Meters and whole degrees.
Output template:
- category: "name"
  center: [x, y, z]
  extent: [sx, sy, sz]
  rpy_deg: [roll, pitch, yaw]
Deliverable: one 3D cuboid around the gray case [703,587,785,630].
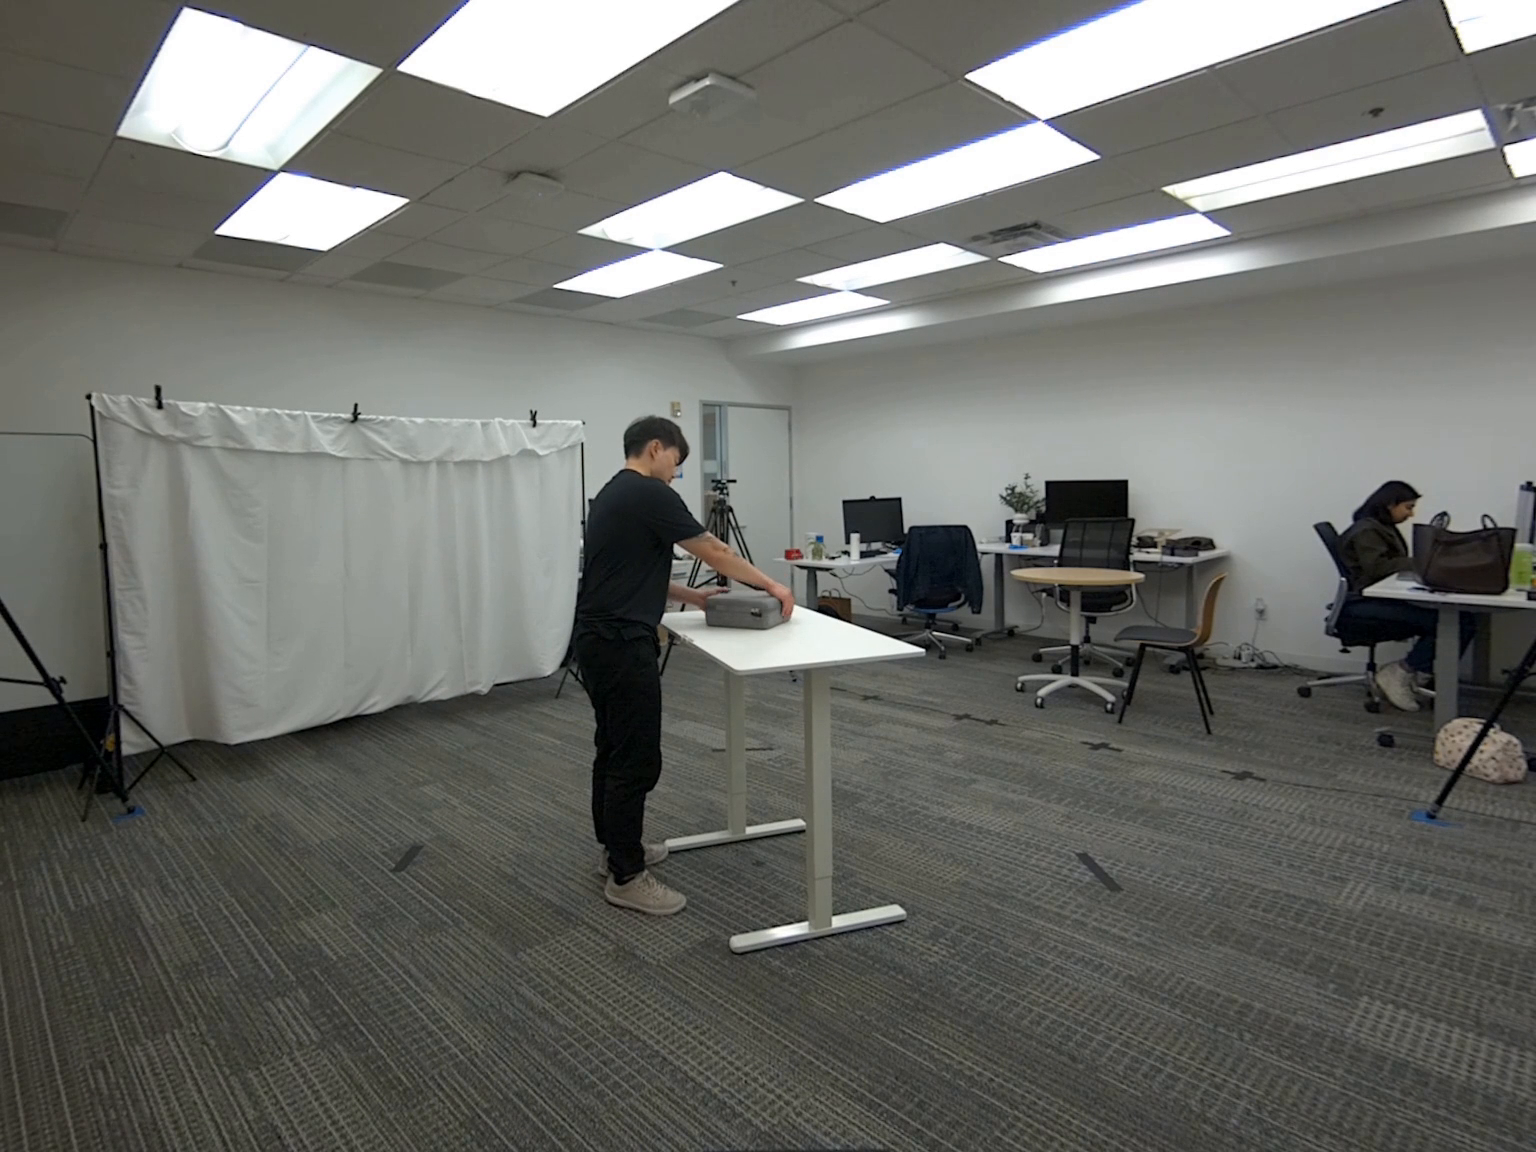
- category: "gray case"
  center: [-0.069, 0.121, 3.066]
  extent: [0.263, 0.104, 0.256]
  rpy_deg: [1, 7, 24]
